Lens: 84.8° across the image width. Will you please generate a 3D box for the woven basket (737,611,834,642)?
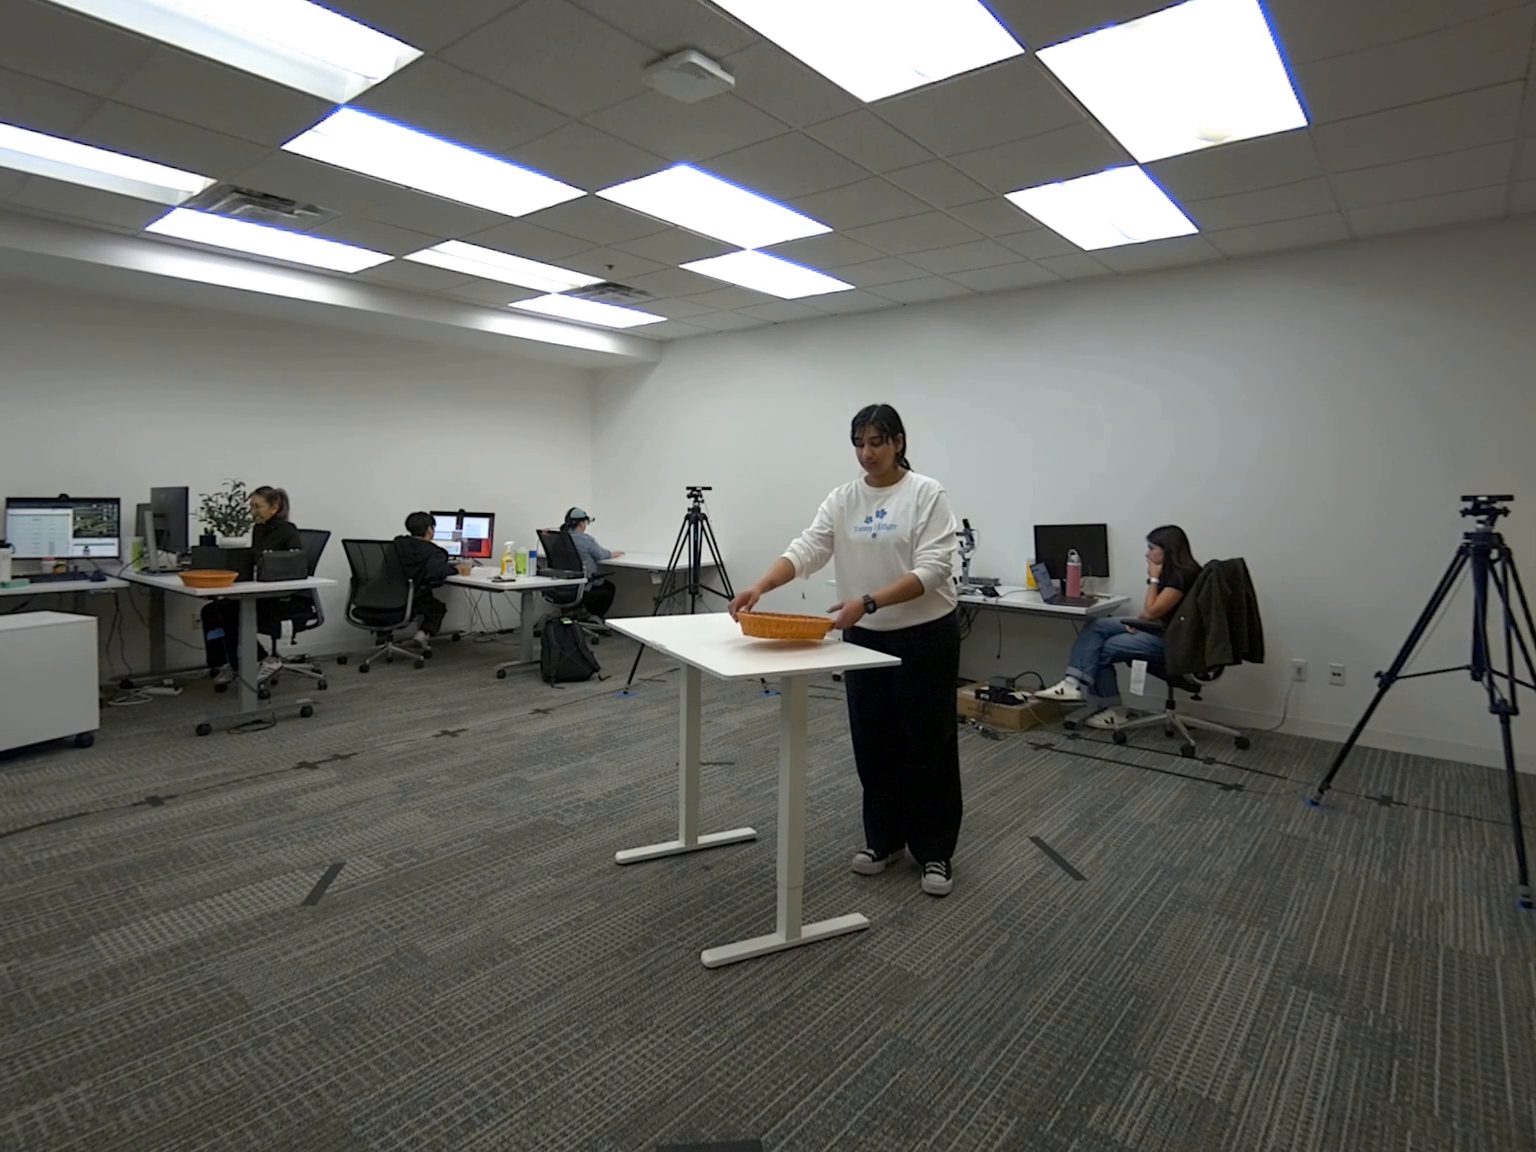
[{"bbox_3d":[0.071,0.164,2.784,0.342,0.073,0.258,4,1,-22],"label":"woven basket"}]
